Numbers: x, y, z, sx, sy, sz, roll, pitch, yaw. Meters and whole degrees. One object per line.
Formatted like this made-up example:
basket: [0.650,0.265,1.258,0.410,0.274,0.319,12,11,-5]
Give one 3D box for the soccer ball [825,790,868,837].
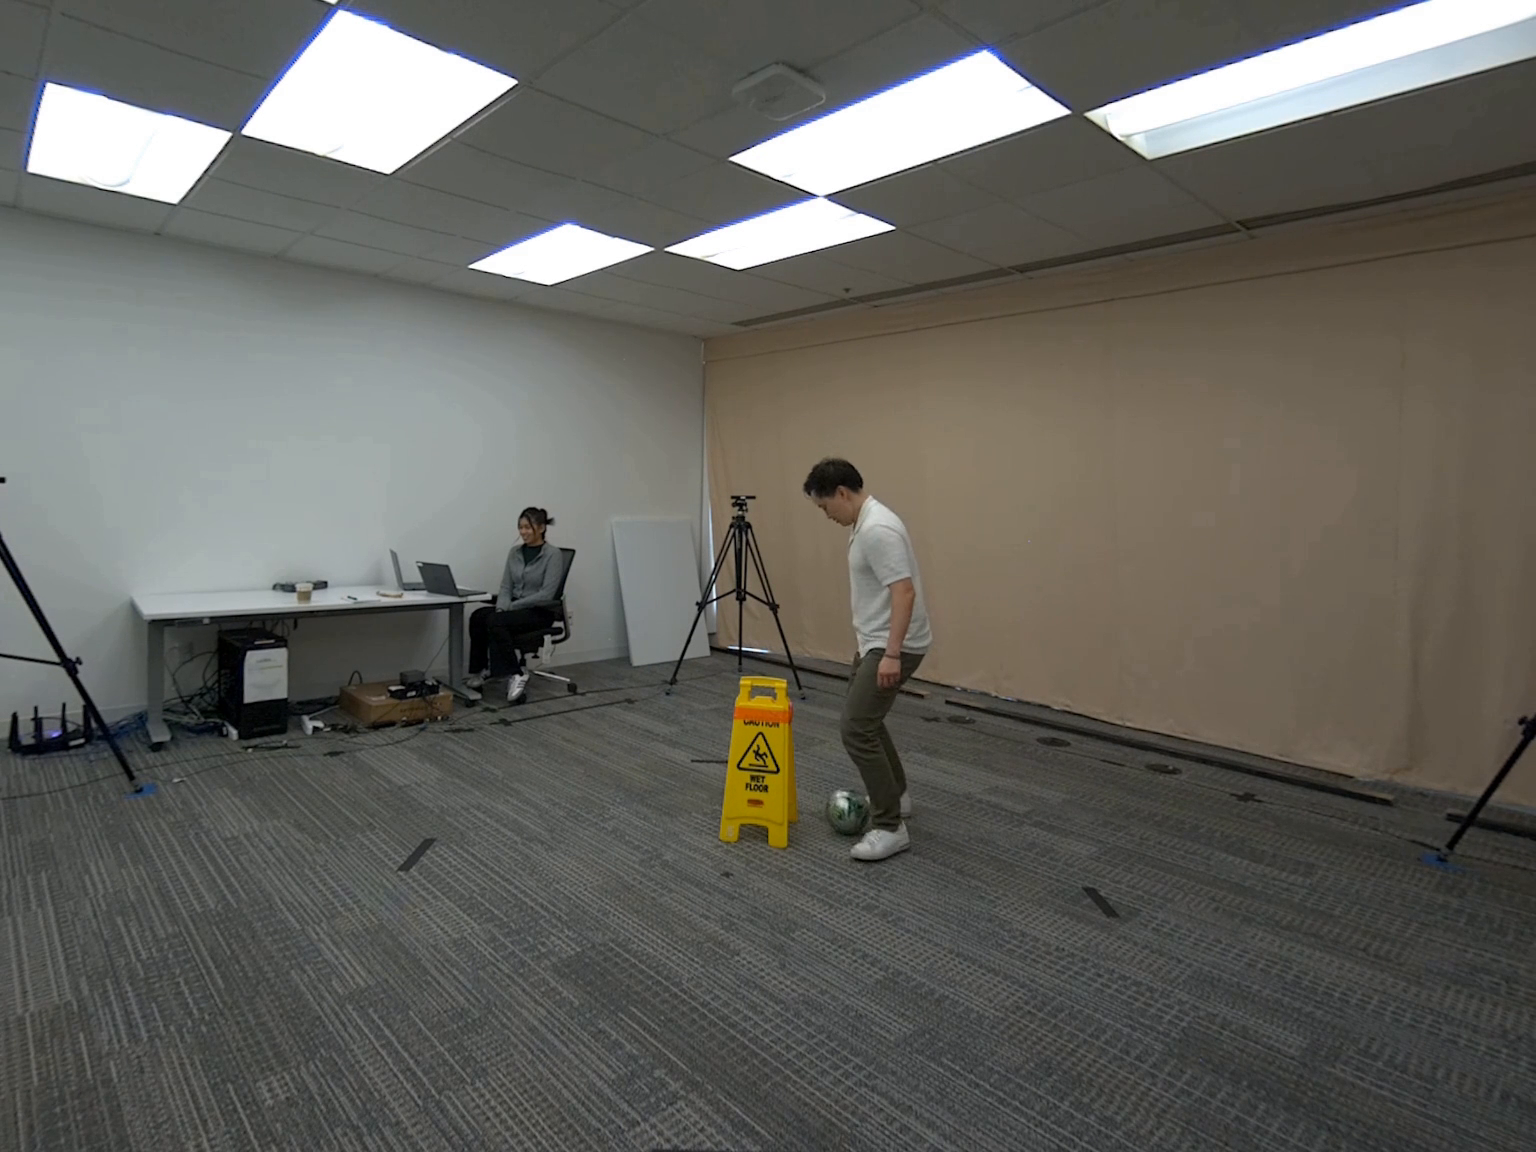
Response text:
soccer ball: [0.319,0.984,3.531,0.187,0.187,0.188,1,4,-1]
